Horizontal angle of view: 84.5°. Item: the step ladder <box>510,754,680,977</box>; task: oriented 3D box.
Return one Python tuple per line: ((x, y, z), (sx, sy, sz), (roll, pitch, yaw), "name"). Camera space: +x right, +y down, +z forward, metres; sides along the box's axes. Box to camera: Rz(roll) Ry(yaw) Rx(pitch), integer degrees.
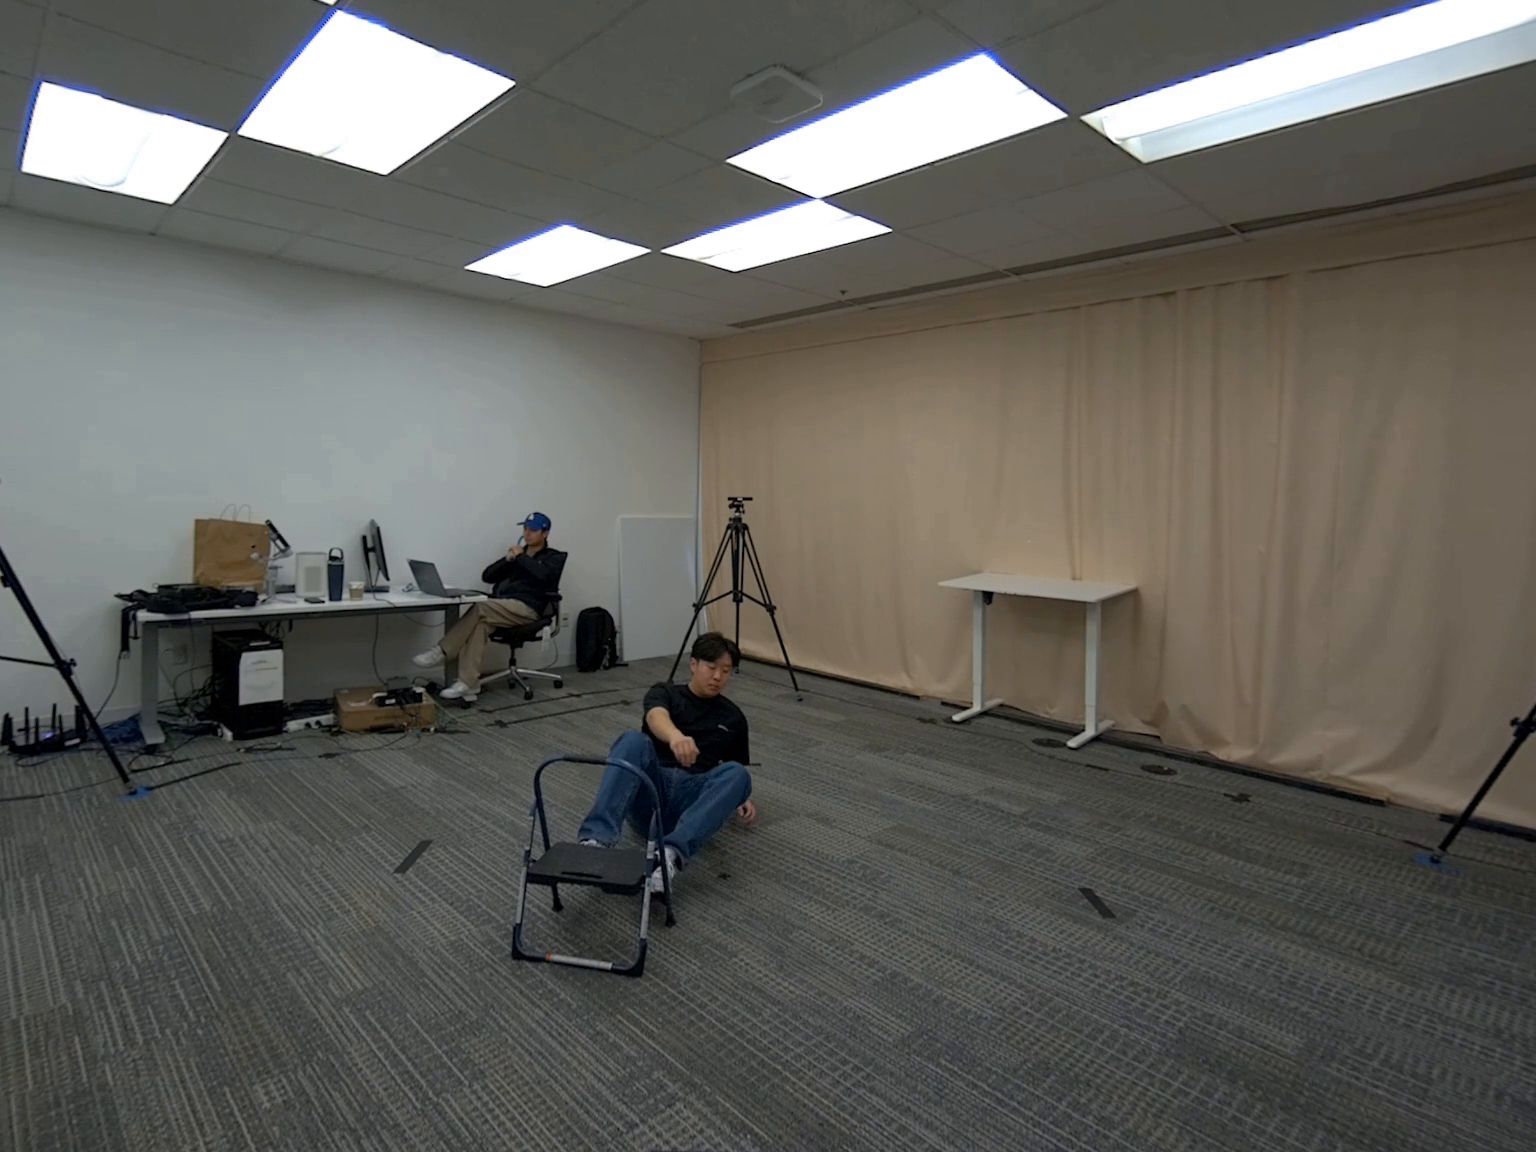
((-0.544, 0.844, 2.617), (0.434, 0.605, 0.346), (2, 2, 10), "step ladder")
